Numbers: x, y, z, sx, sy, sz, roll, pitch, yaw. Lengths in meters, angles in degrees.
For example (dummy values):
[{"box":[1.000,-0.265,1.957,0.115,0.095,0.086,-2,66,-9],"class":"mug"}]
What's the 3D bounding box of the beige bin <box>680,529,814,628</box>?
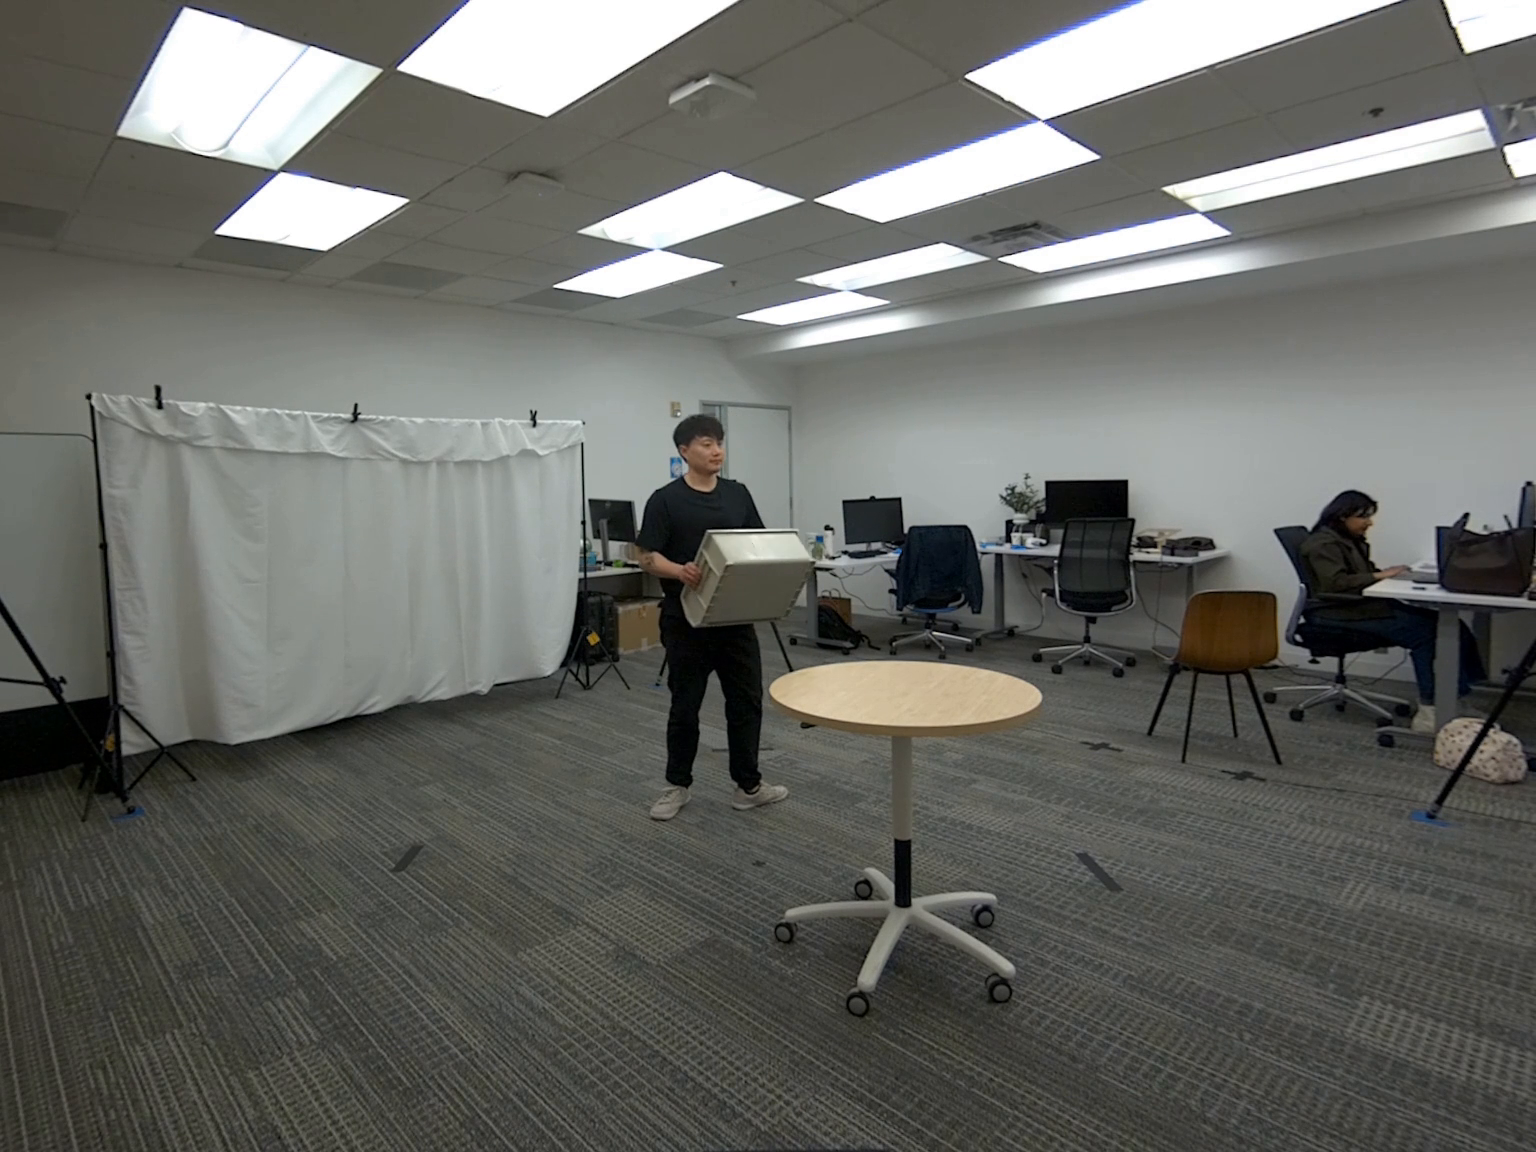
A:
[{"box":[-0.083,0.019,3.358,0.412,0.373,0.196,-1,43,-32],"class":"beige bin"}]
